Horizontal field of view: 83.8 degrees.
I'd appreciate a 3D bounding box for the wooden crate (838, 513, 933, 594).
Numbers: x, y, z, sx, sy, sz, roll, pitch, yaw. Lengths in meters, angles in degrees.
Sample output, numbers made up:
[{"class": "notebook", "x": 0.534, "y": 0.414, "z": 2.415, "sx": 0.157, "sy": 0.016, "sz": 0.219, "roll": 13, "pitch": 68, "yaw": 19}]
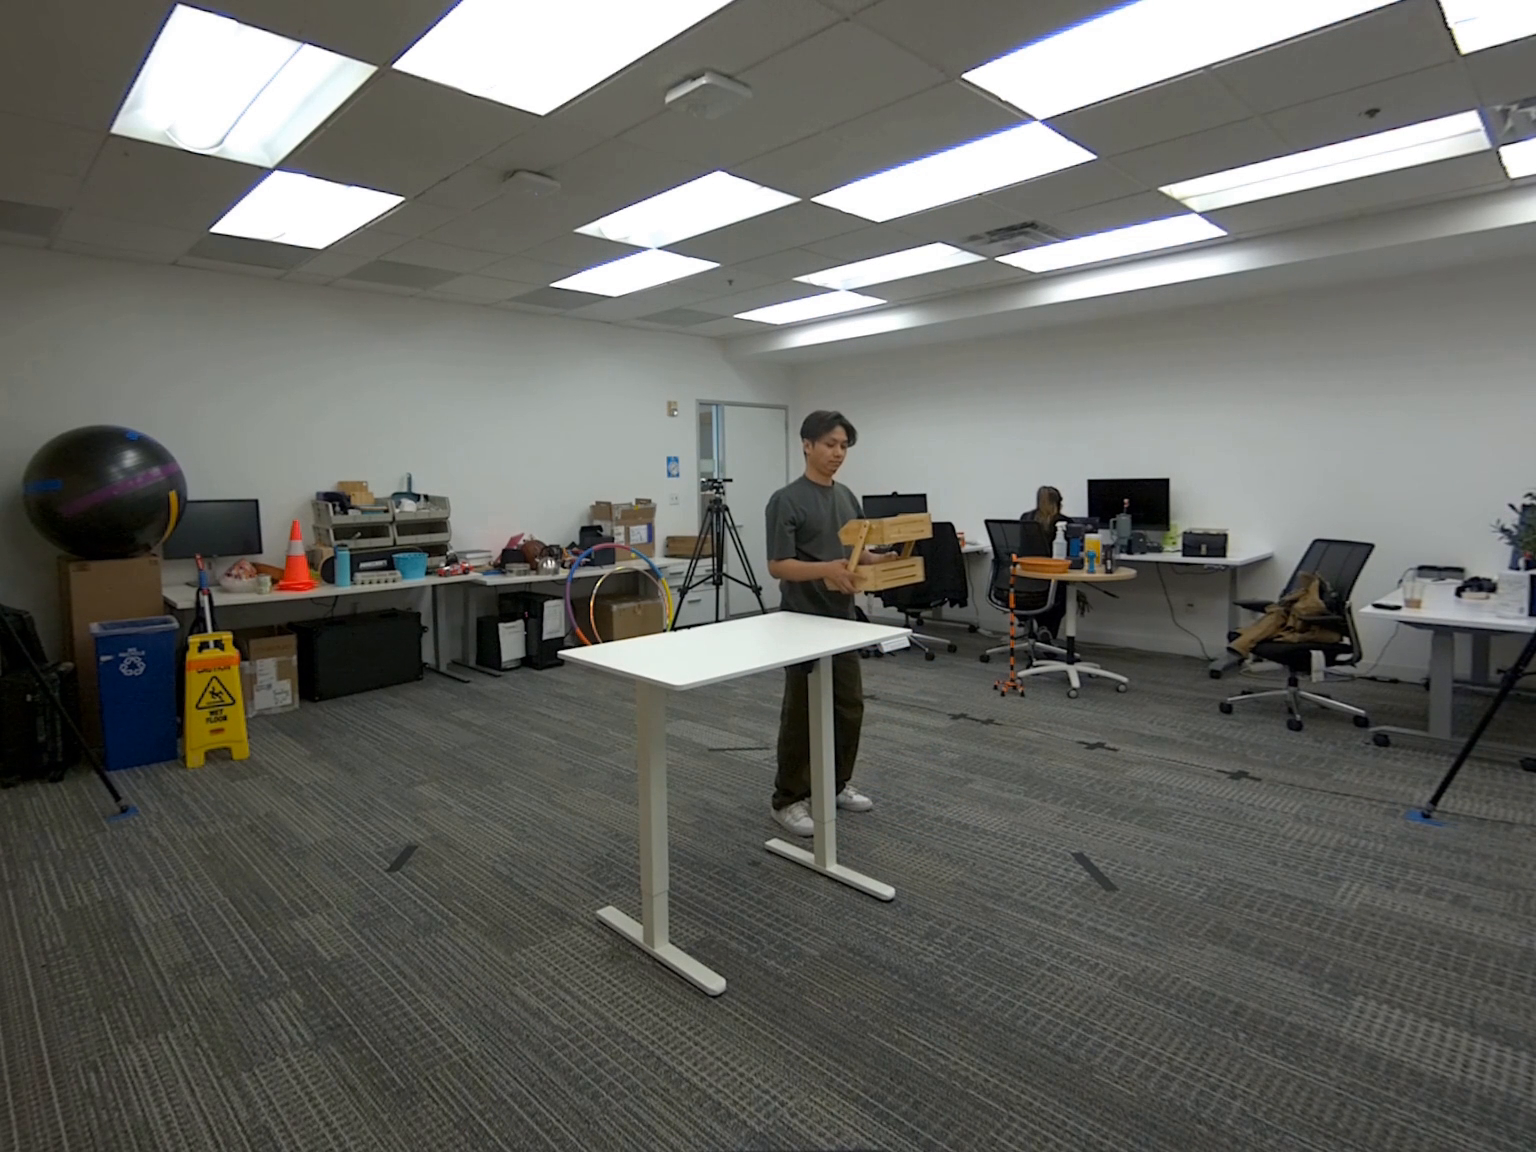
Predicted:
[{"class": "wooden crate", "x": 0.417, "y": -0.094, "z": 3.264, "sx": 0.316, "sy": 0.272, "sz": 0.311, "roll": -9, "pitch": 6, "yaw": -41}]
